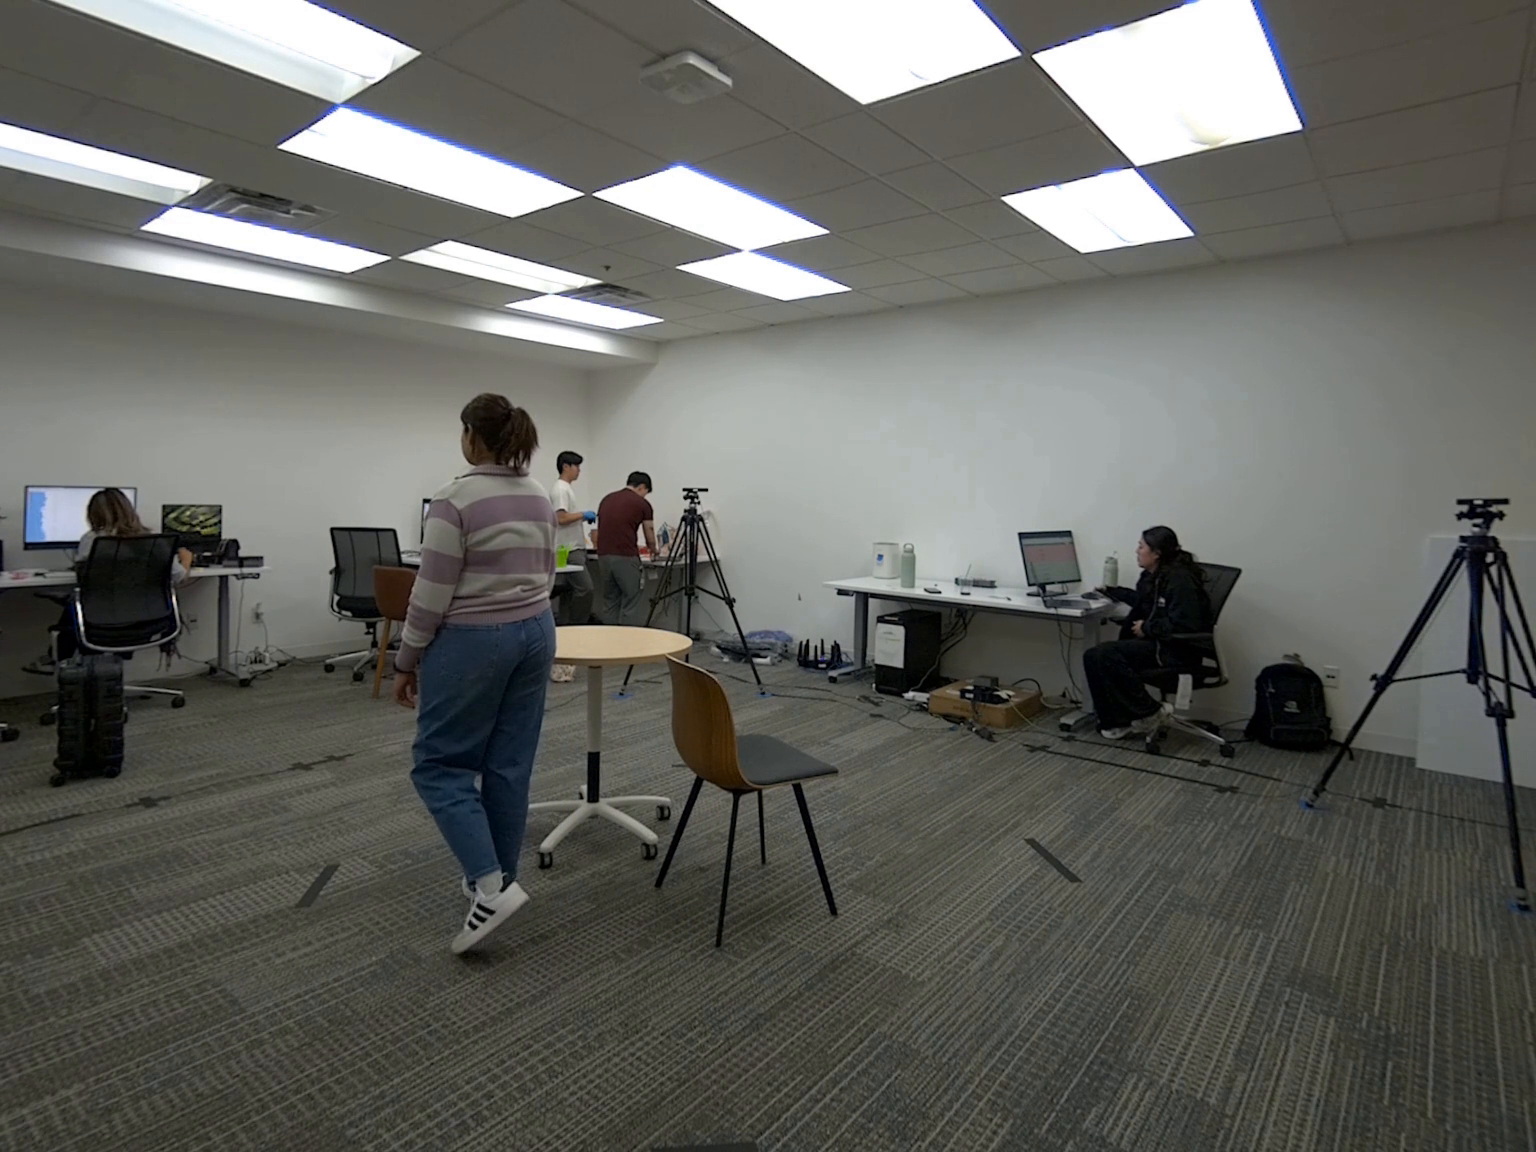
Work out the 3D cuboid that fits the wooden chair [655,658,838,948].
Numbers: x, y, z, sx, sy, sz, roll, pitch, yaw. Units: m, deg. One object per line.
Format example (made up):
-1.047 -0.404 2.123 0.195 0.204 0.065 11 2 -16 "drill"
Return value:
-0.072 0.673 2.849 0.510 0.873 0.493 -6 6 -31 "wooden chair"
